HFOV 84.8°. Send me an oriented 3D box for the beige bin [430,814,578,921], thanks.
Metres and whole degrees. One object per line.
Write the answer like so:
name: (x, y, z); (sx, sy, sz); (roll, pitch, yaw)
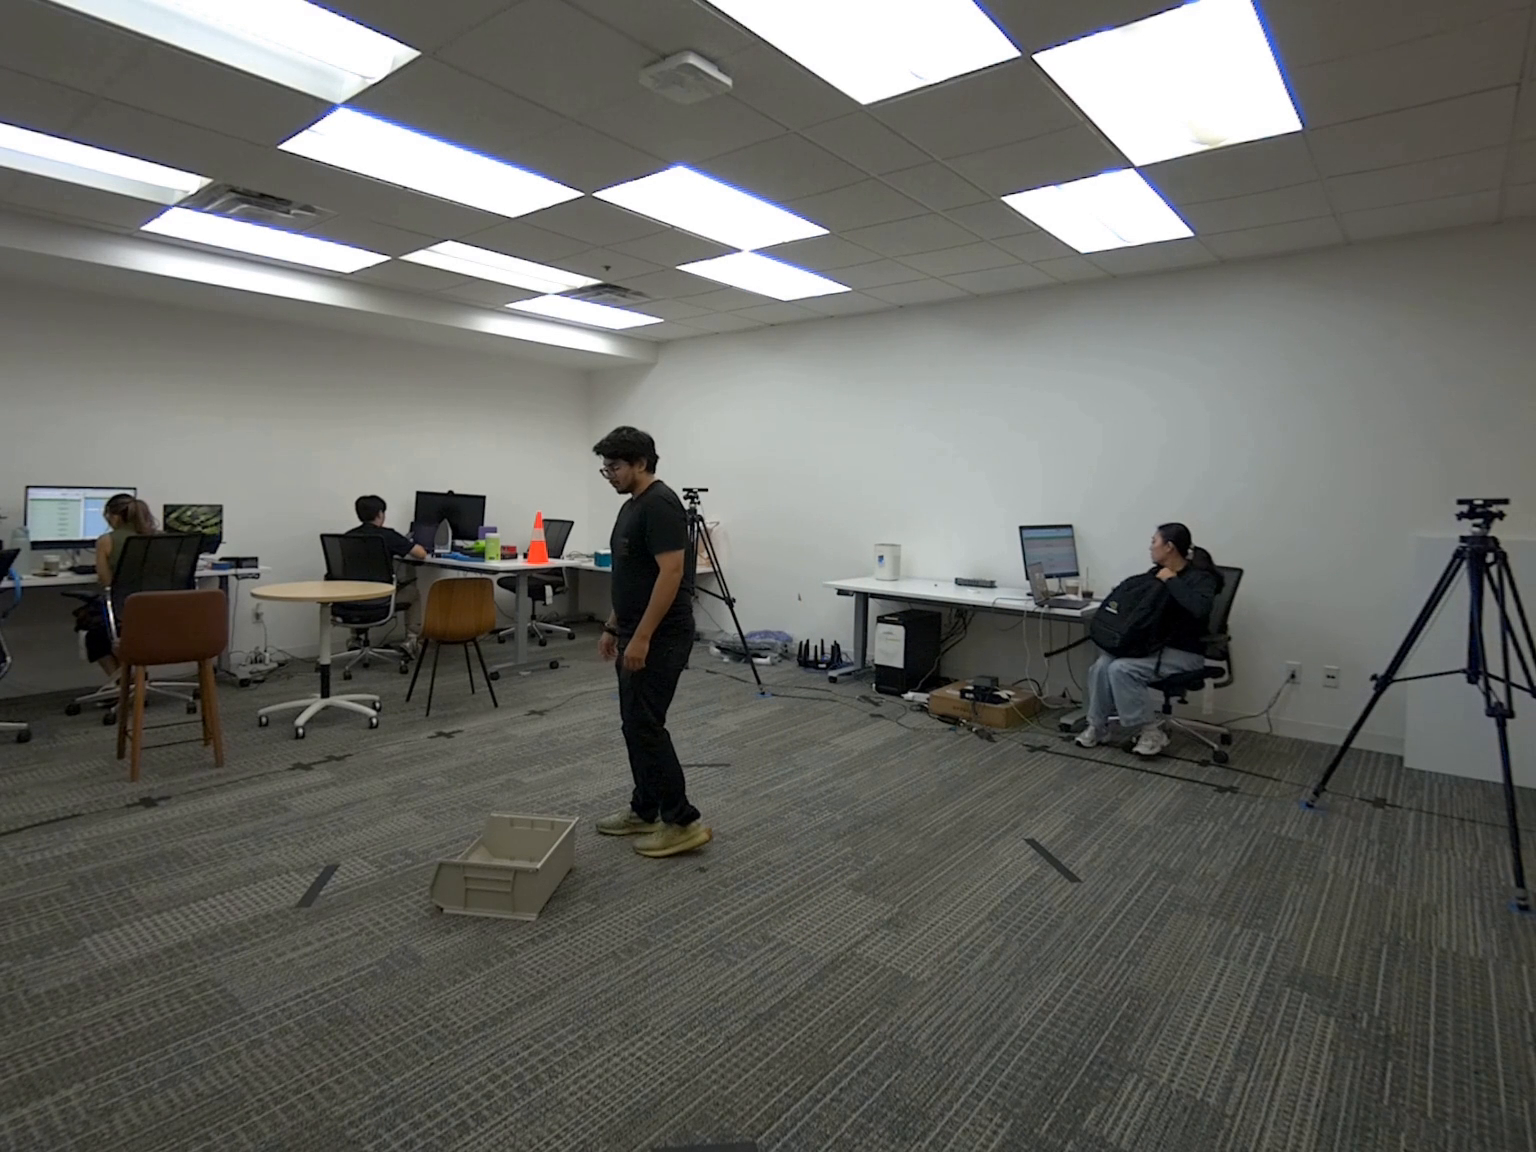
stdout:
beige bin: (-0.910, 0.987, 2.932); (0.380, 0.188, 0.420); (2, 5, 6)
